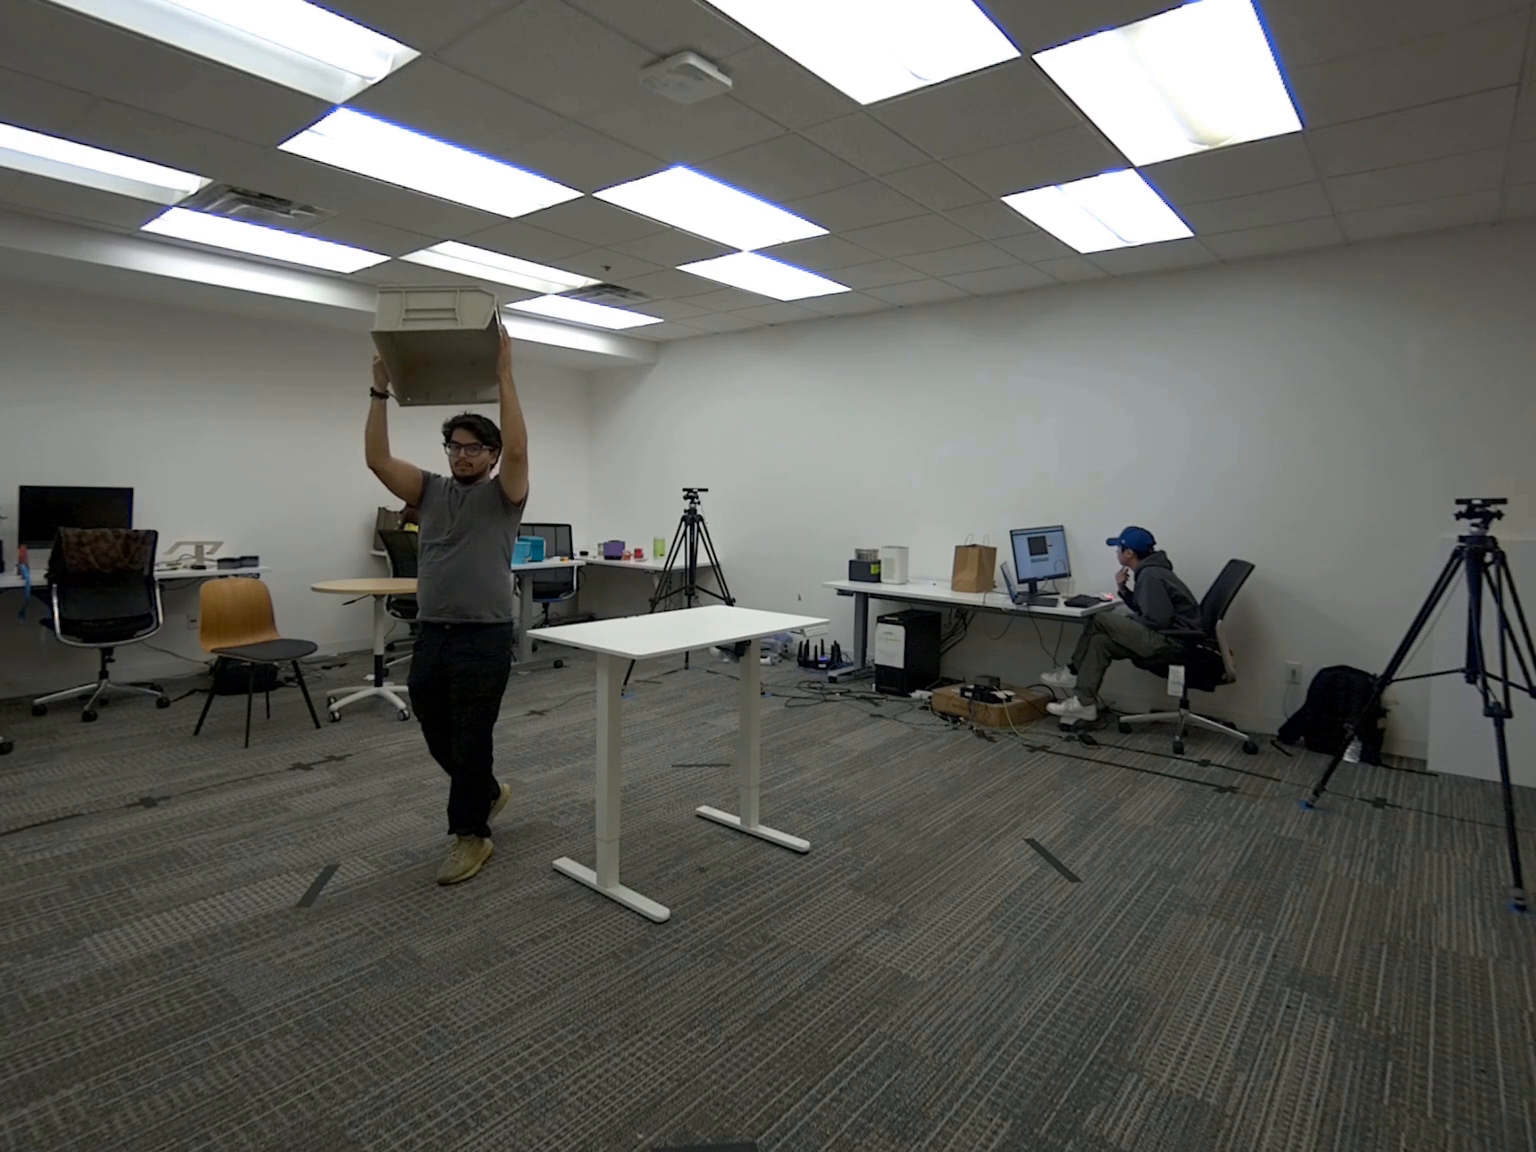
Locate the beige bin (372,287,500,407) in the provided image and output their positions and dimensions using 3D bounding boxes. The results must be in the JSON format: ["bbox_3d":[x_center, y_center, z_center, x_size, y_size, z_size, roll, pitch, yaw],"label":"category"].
[{"bbox_3d":[-1.088,-0.765,2.832,0.373,0.193,0.417,-3,-21,-11],"label":"beige bin"}]
